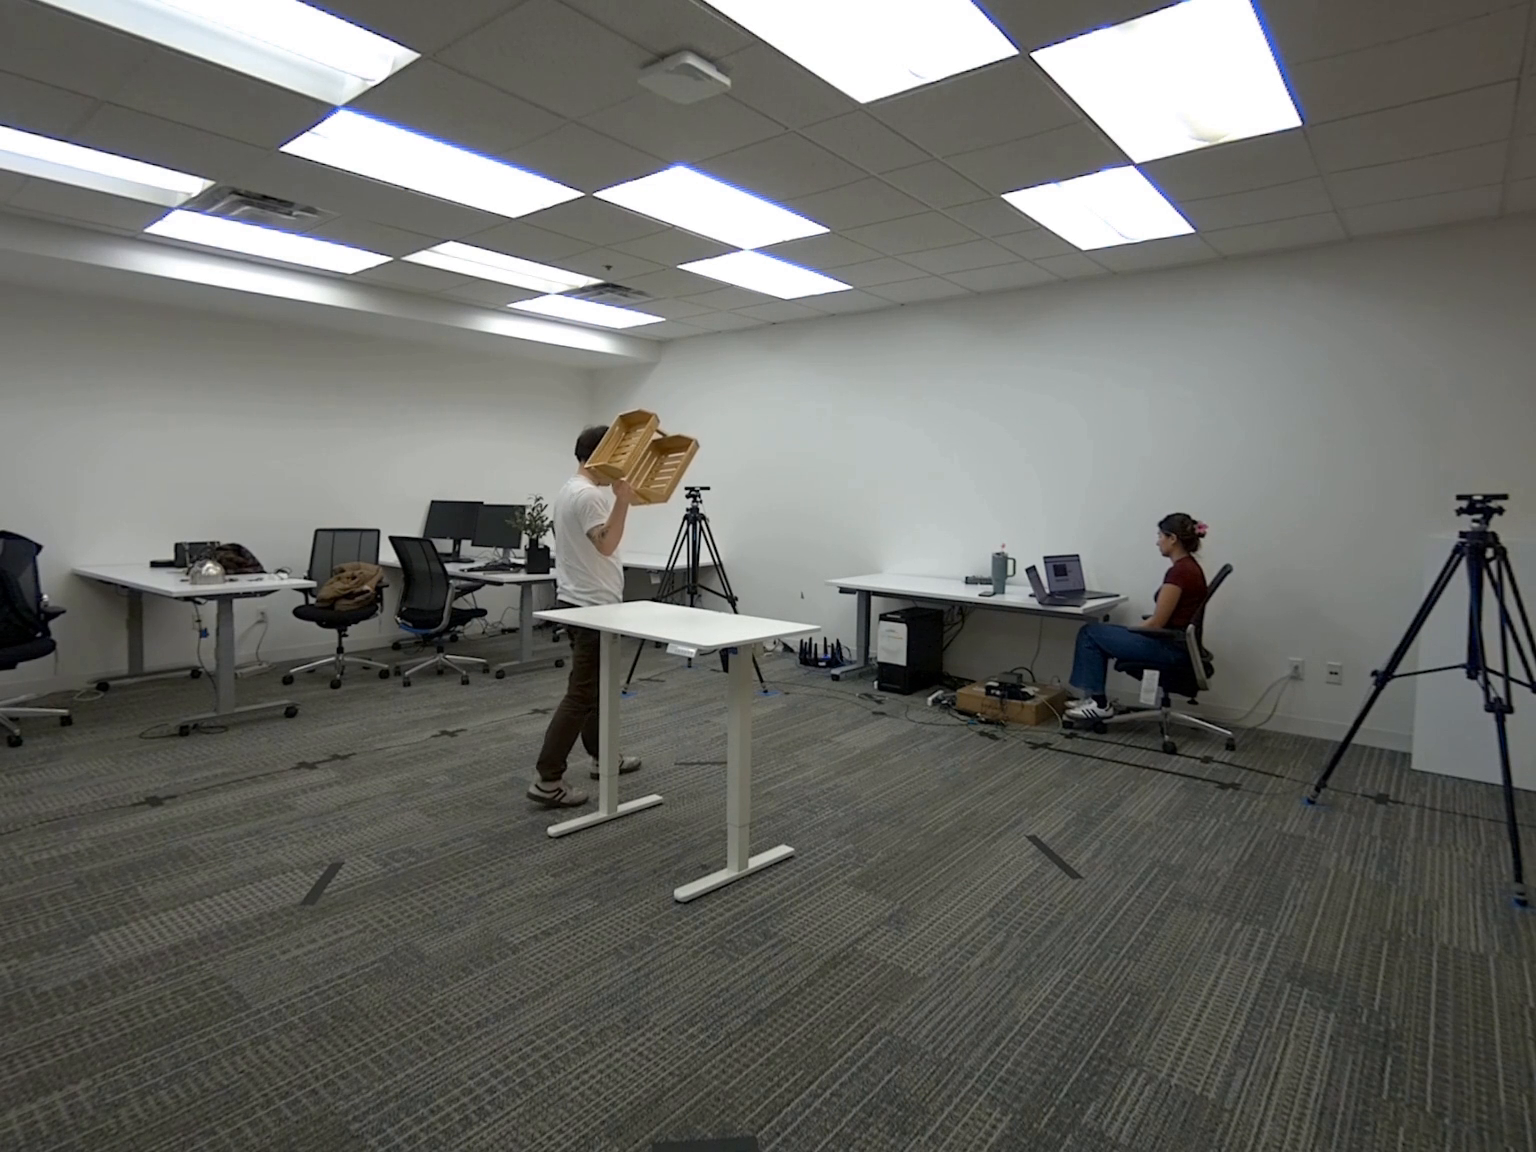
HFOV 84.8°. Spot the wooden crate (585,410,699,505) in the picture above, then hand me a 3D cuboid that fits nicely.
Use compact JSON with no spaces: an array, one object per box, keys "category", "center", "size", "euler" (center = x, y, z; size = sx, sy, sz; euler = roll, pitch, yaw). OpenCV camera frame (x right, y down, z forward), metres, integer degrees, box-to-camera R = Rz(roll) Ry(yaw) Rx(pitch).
[{"category":"wooden crate","center":[-0.526,-0.499,3.495],"size":[0.311,0.327,0.263],"euler":[-3,-39,46]}]
